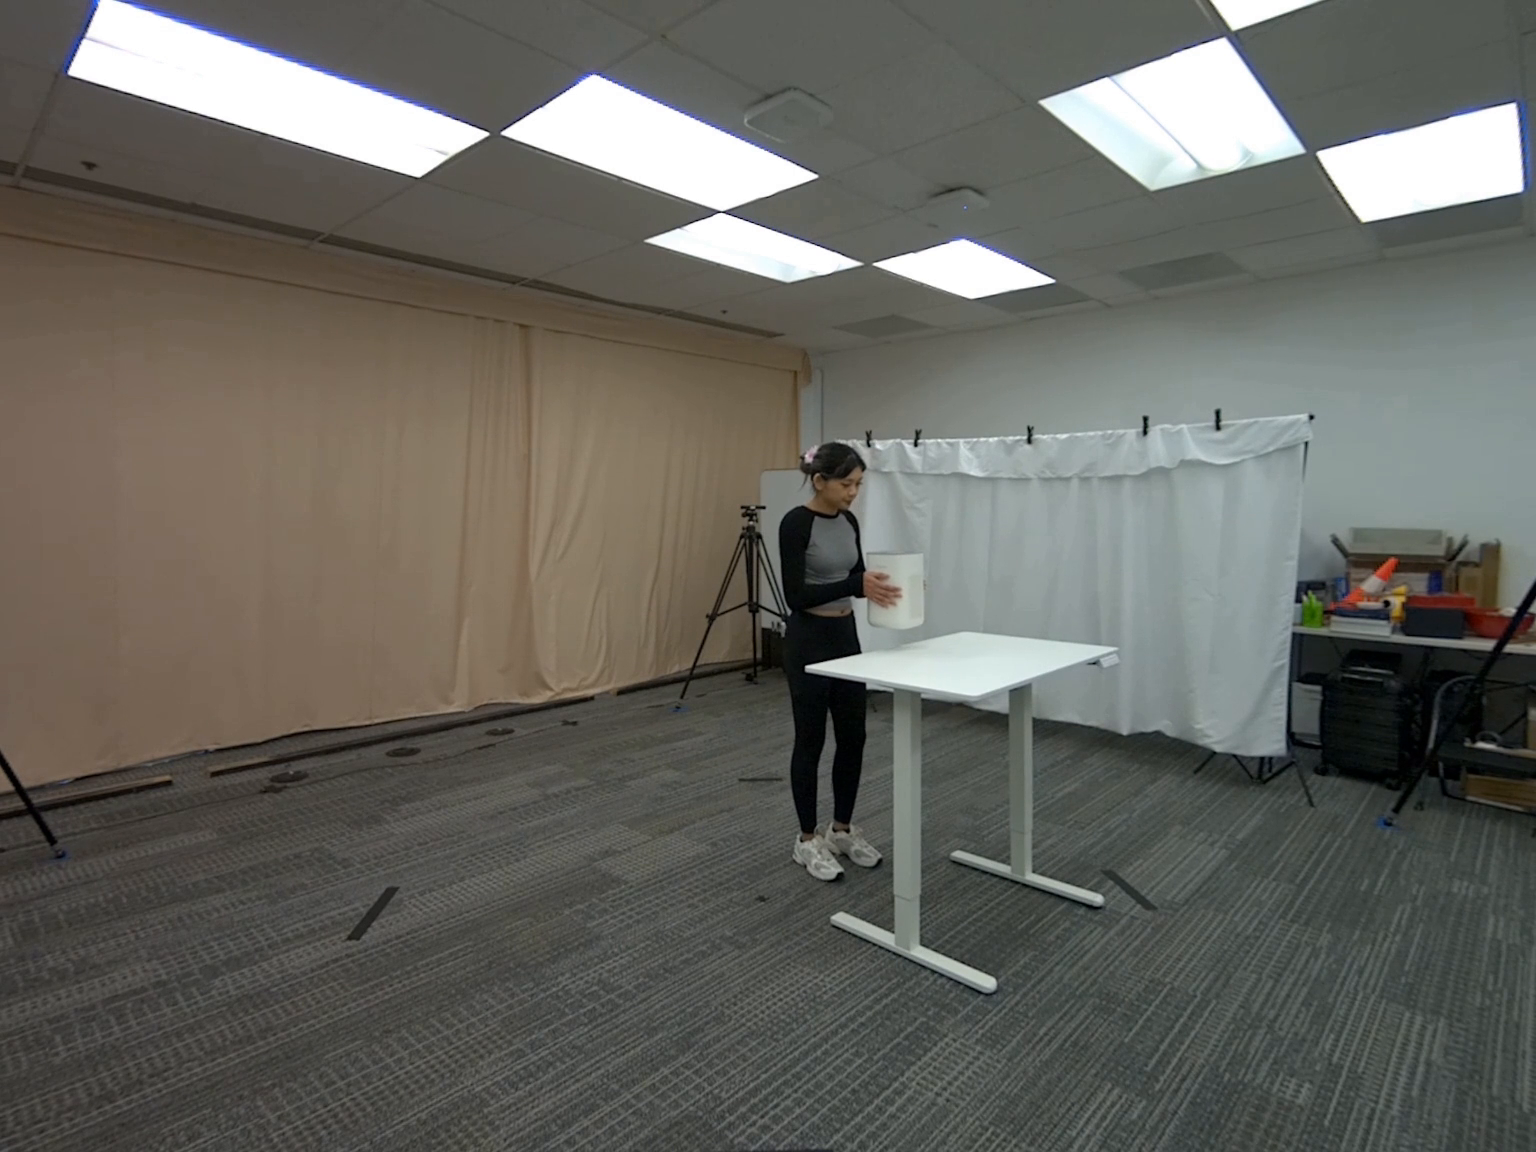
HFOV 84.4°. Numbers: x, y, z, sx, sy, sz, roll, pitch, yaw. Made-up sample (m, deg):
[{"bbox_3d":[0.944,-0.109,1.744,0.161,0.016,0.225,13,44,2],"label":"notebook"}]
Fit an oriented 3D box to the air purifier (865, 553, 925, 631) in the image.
[{"bbox_3d":[0.451,0.049,2.983,0.176,0.265,0.166,1,4,38],"label":"air purifier"}]
